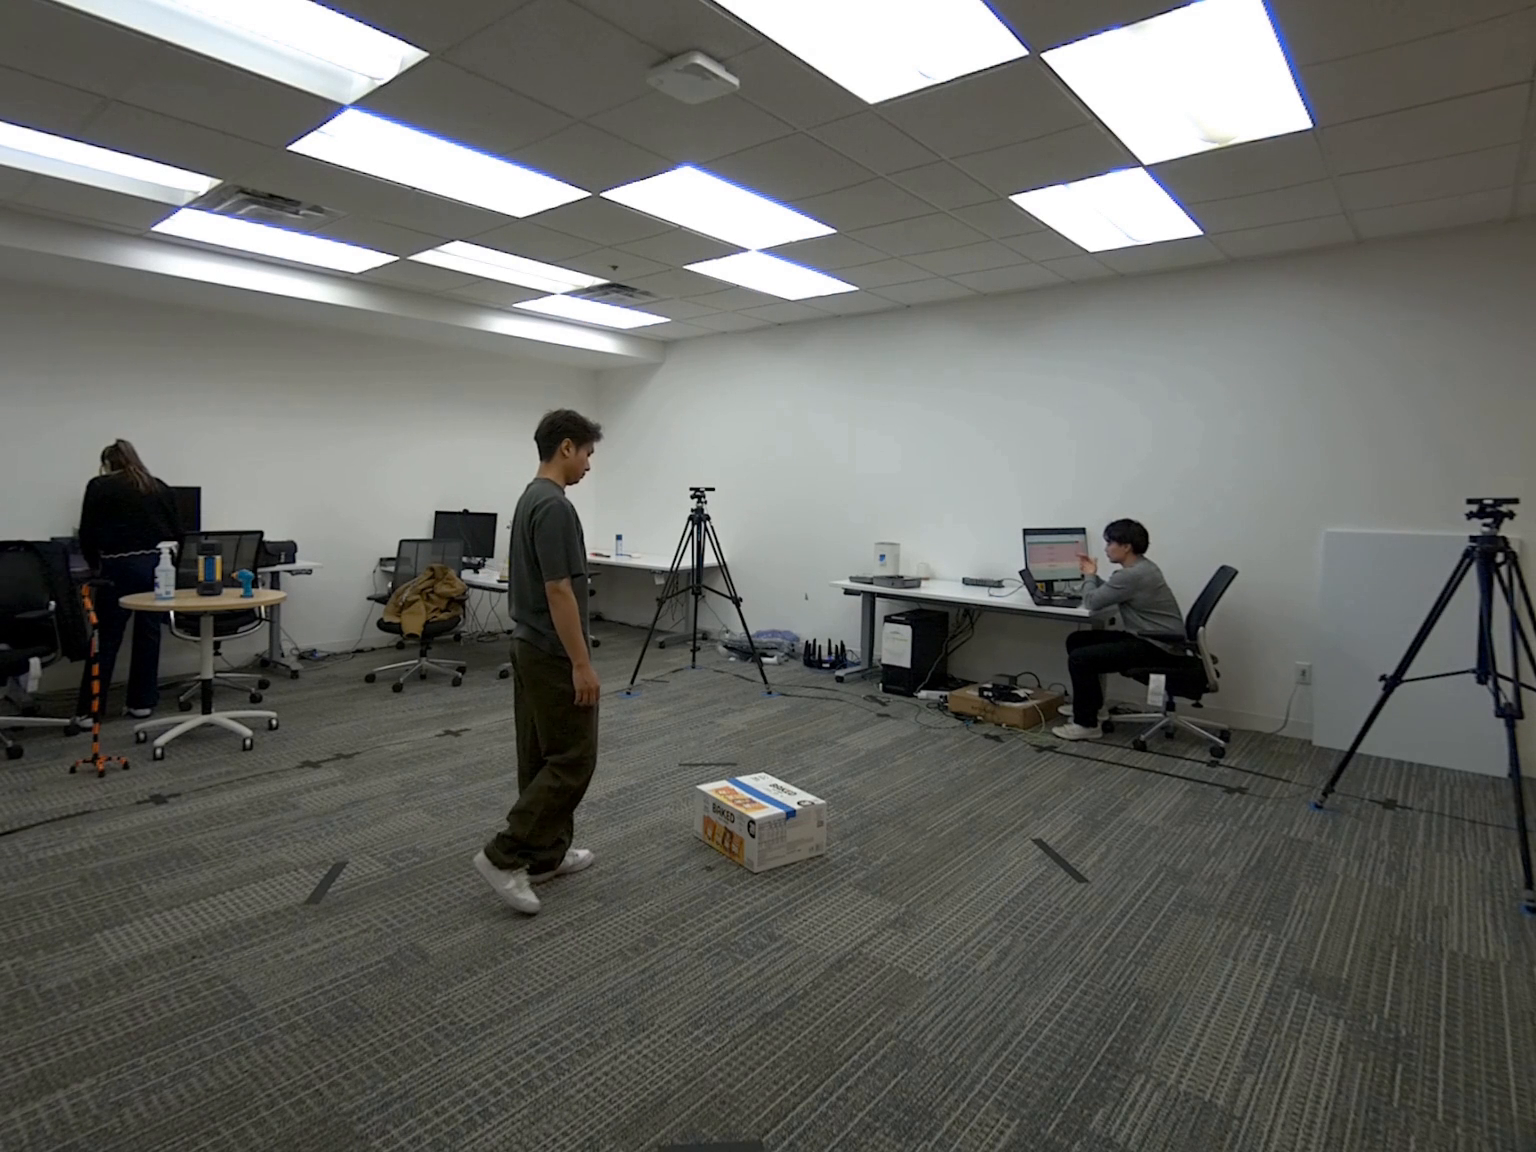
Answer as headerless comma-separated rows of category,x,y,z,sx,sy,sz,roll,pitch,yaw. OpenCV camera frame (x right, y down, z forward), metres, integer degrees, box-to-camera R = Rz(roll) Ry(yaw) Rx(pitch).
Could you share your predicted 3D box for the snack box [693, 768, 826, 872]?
snack box,-0.041,0.942,3.314,0.330,0.205,0.418,-2,6,-36
